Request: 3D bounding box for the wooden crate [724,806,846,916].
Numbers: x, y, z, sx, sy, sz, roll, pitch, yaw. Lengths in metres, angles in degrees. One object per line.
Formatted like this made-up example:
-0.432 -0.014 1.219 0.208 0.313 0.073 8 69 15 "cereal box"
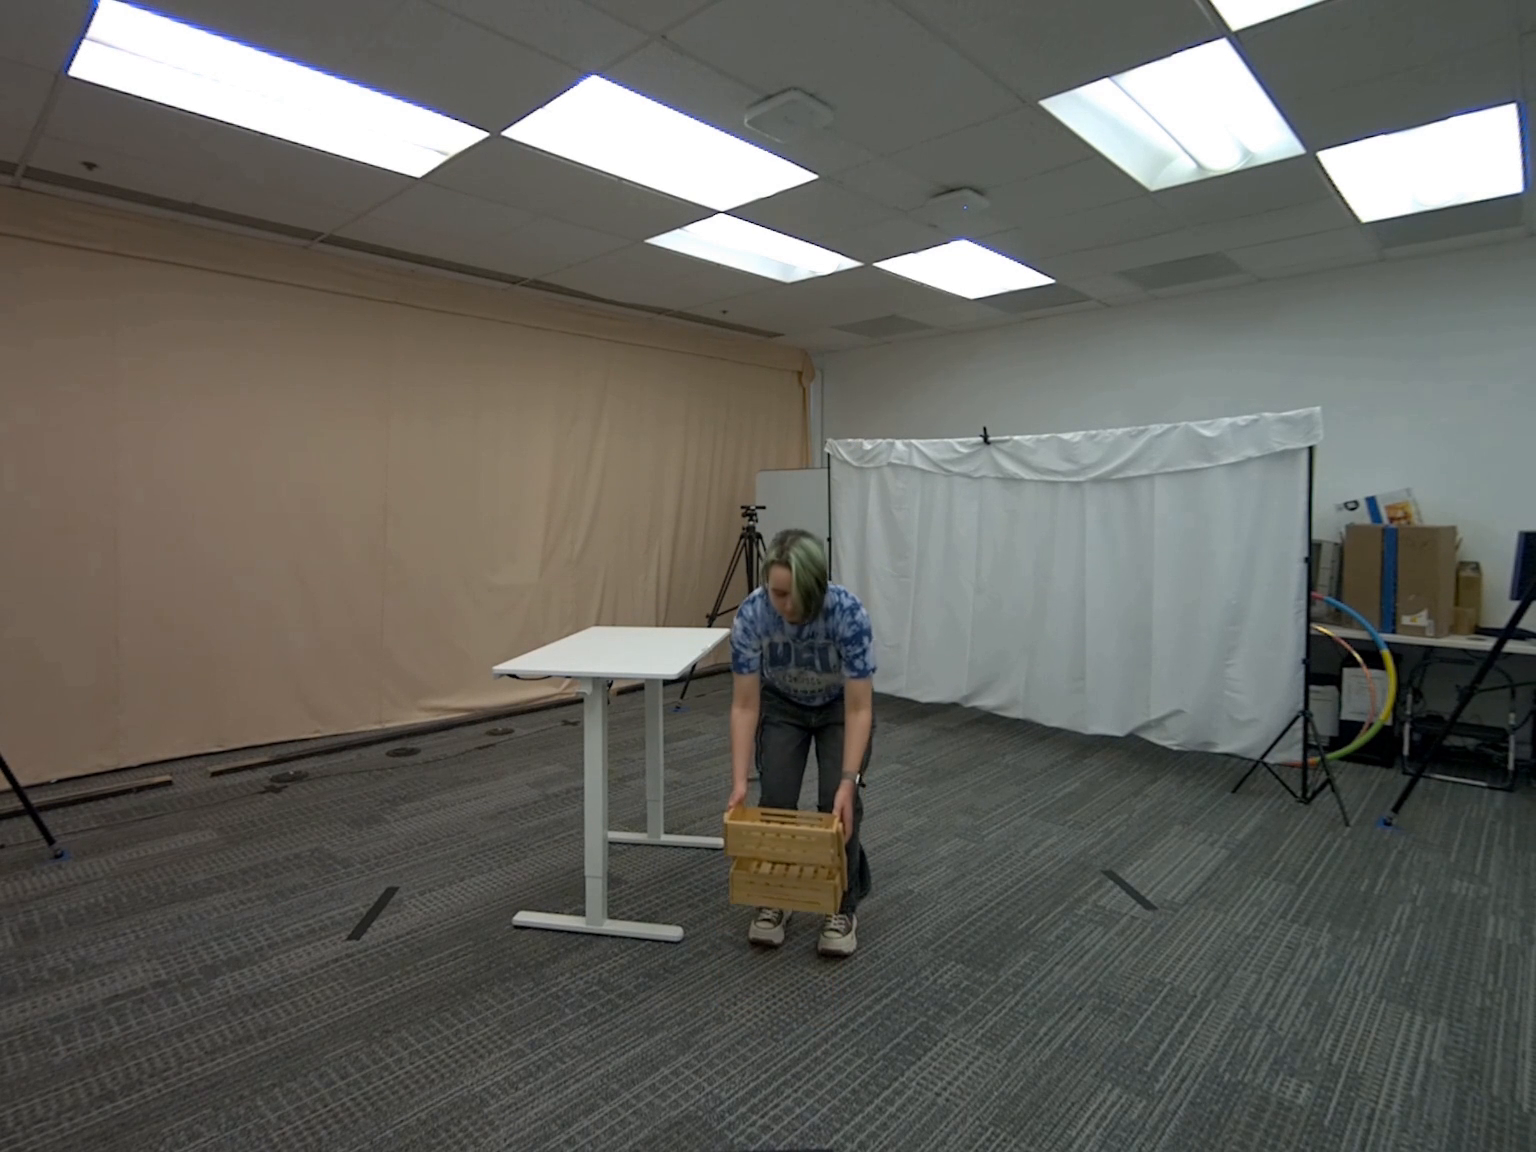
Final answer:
0.057 0.769 2.402 0.329 0.272 0.299 1 7 13 "wooden crate"
